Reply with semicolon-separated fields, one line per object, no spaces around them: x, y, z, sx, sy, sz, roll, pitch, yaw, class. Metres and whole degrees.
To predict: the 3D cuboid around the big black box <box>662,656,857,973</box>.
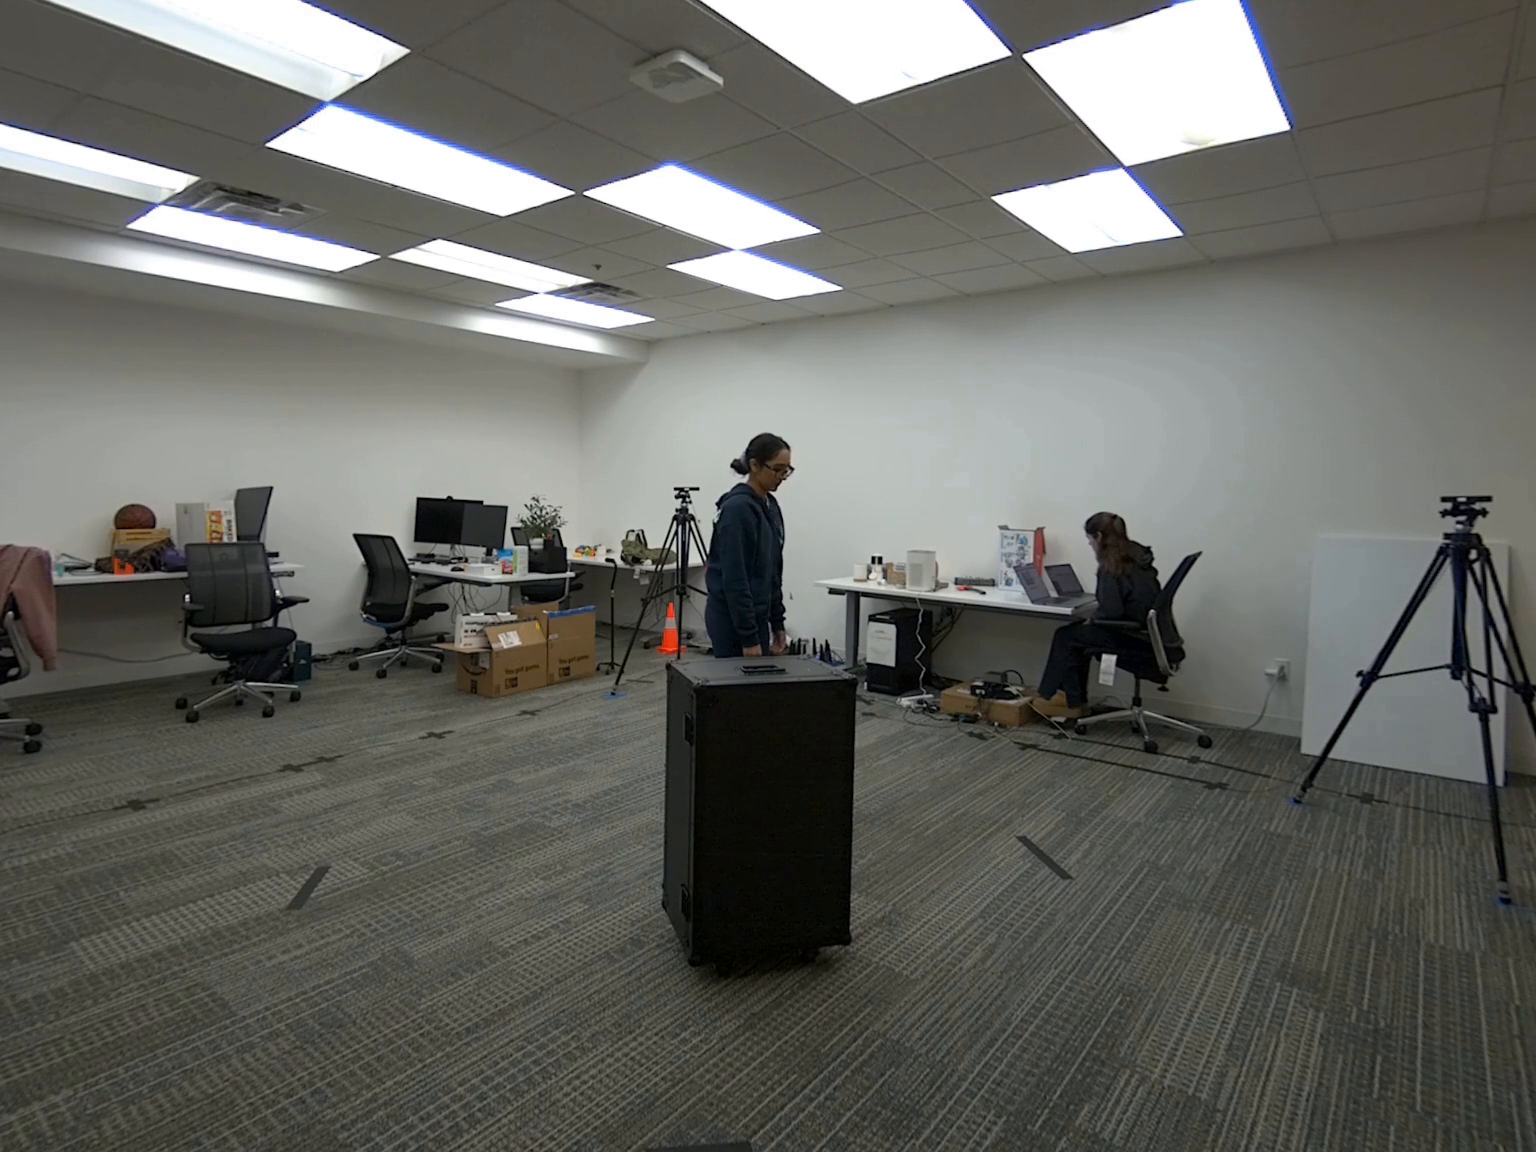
-0.056;0.696;2.563;0.512;0.860;0.404;0;2;-19;big black box
